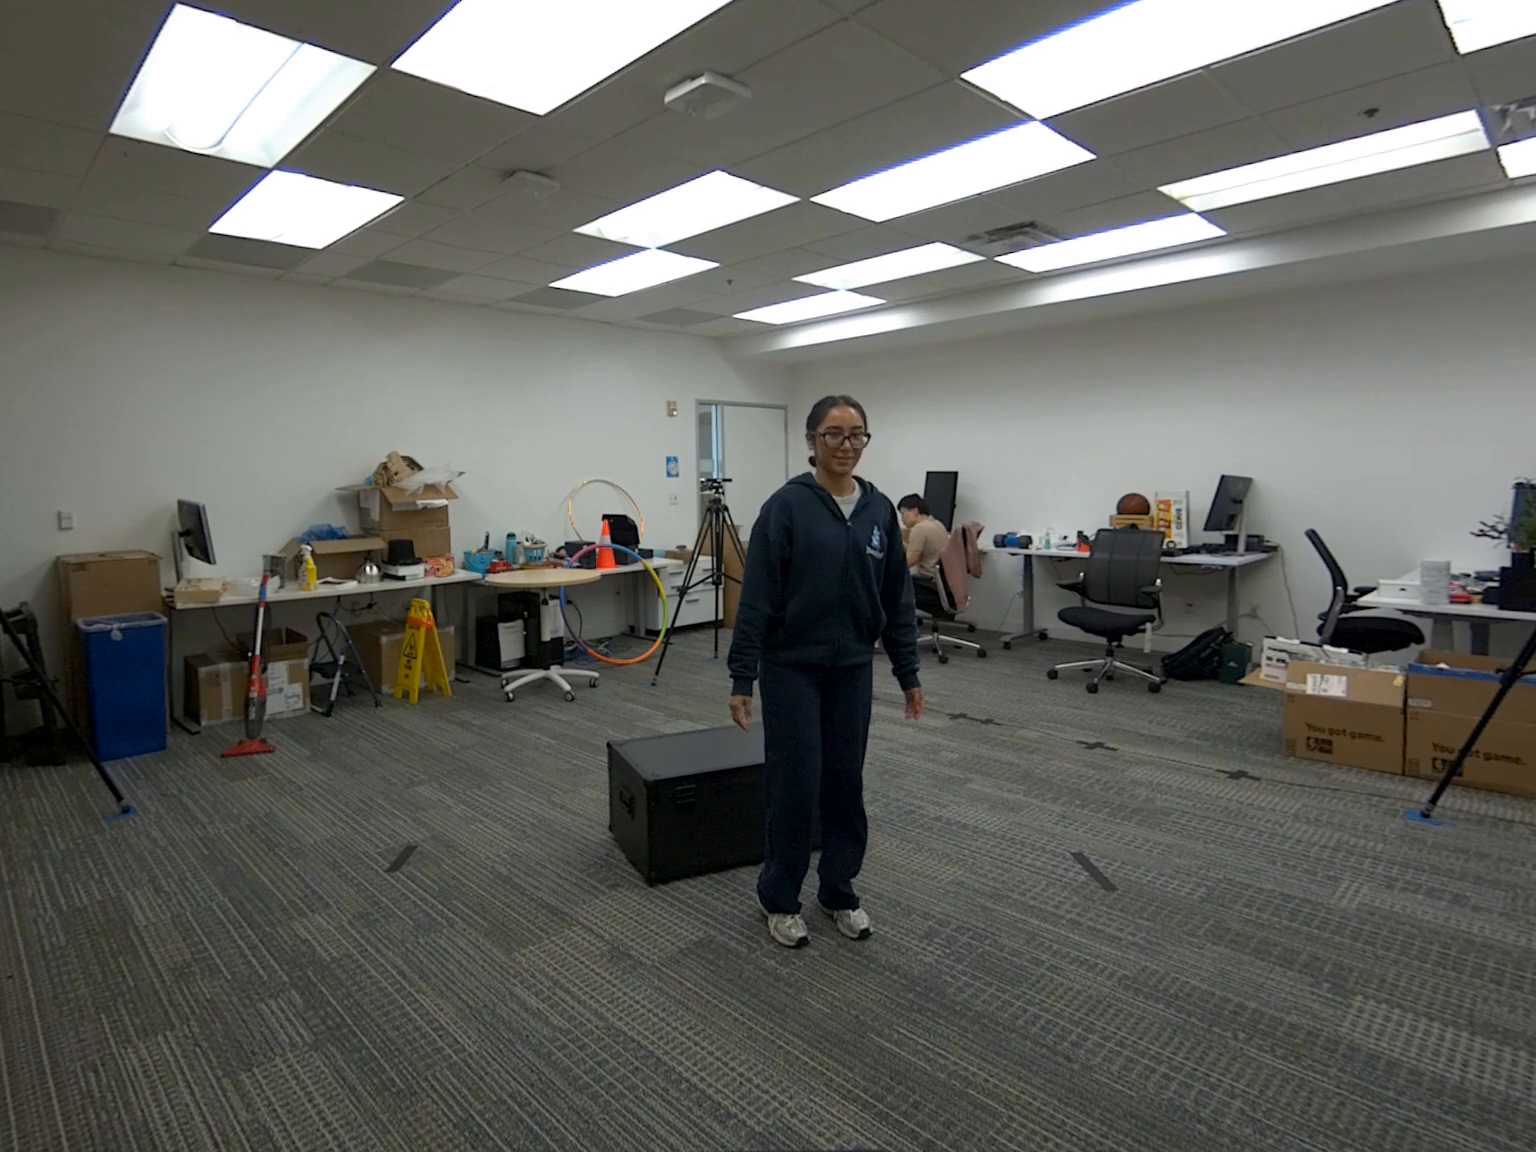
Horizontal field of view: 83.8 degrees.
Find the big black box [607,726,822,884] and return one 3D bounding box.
[{"bbox_3d":[-0.148,0.849,3.310,0.843,0.518,0.407,-4,7,-27],"label":"big black box"}]
